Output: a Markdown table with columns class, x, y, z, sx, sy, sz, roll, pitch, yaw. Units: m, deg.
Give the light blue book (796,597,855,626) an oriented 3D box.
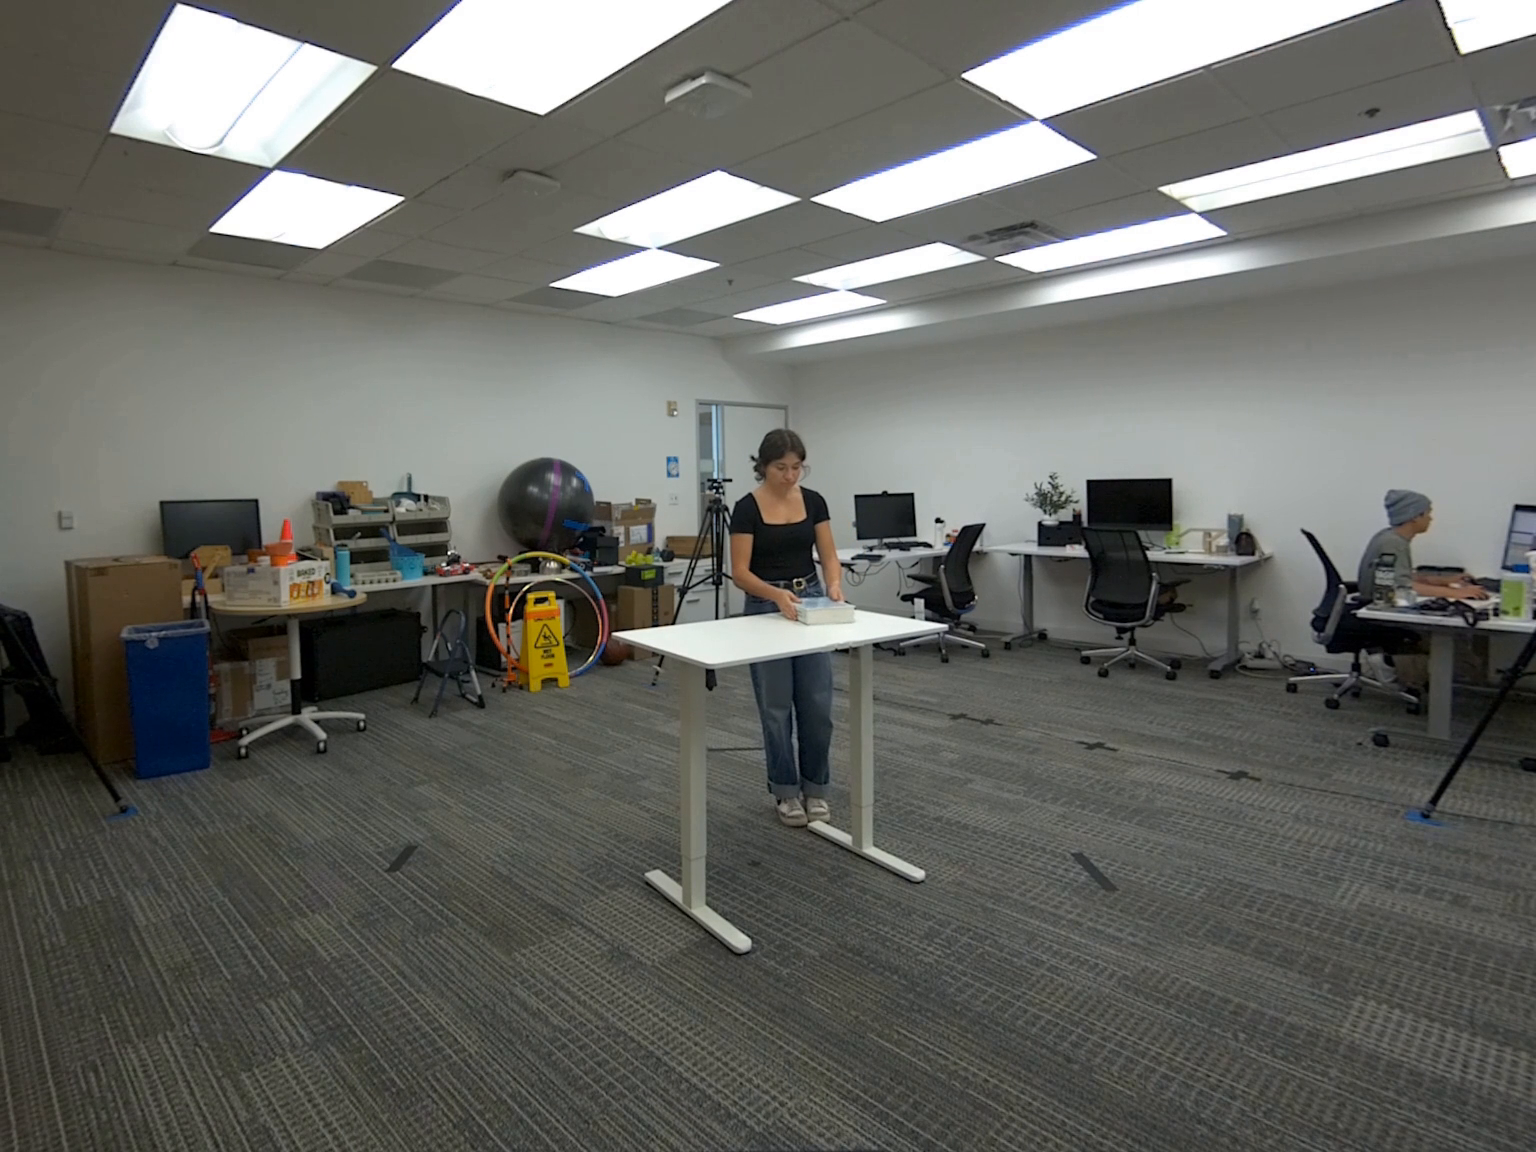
| class | x | y | z | sx | sy | sz | roll | pitch | yaw |
| --- | --- | --- | --- | --- | --- | --- | --- | --- | --- |
| light blue book | 0.188 | 0.133 | 3.152 | 0.188 | 0.059 | 0.266 | -2 | 5 | -19 |
